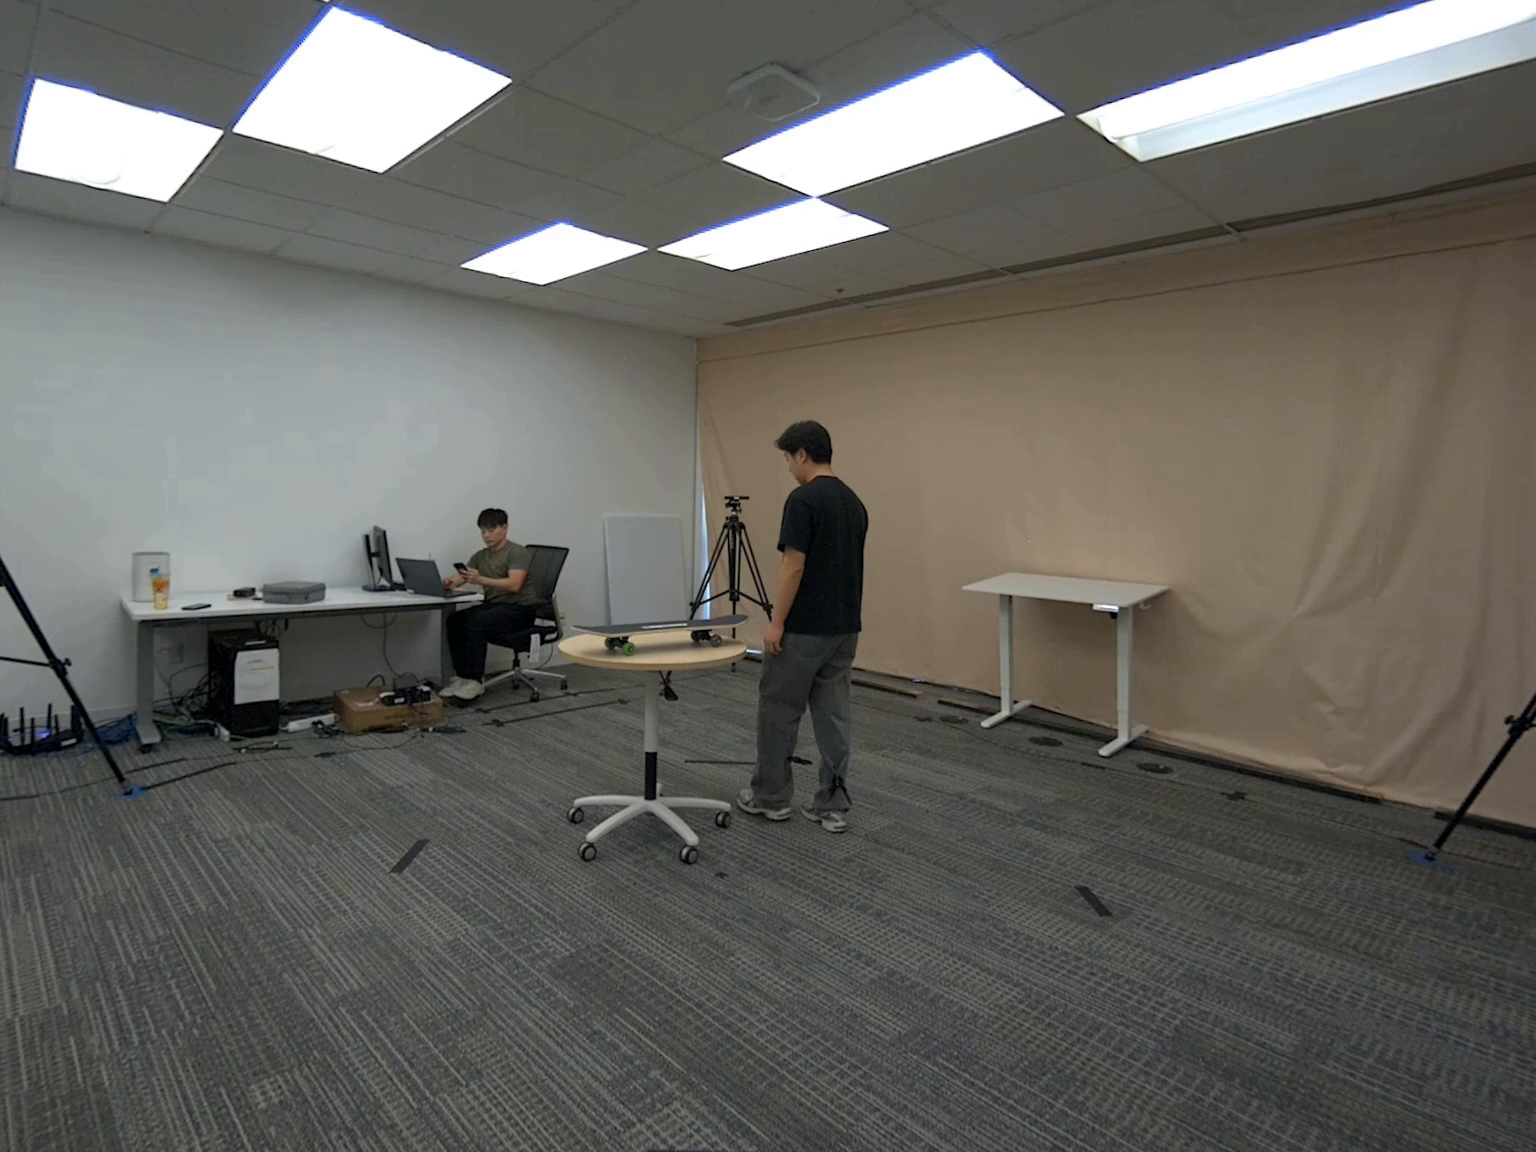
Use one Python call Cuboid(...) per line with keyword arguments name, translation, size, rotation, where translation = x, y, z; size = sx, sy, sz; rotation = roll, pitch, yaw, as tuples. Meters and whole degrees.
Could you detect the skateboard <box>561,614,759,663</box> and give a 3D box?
Cuboid(name="skateboard", translation=(-0.416, 0.239, 3.376), size=(0.768, 0.110, 0.198), rotation=(-2, 6, -35))
